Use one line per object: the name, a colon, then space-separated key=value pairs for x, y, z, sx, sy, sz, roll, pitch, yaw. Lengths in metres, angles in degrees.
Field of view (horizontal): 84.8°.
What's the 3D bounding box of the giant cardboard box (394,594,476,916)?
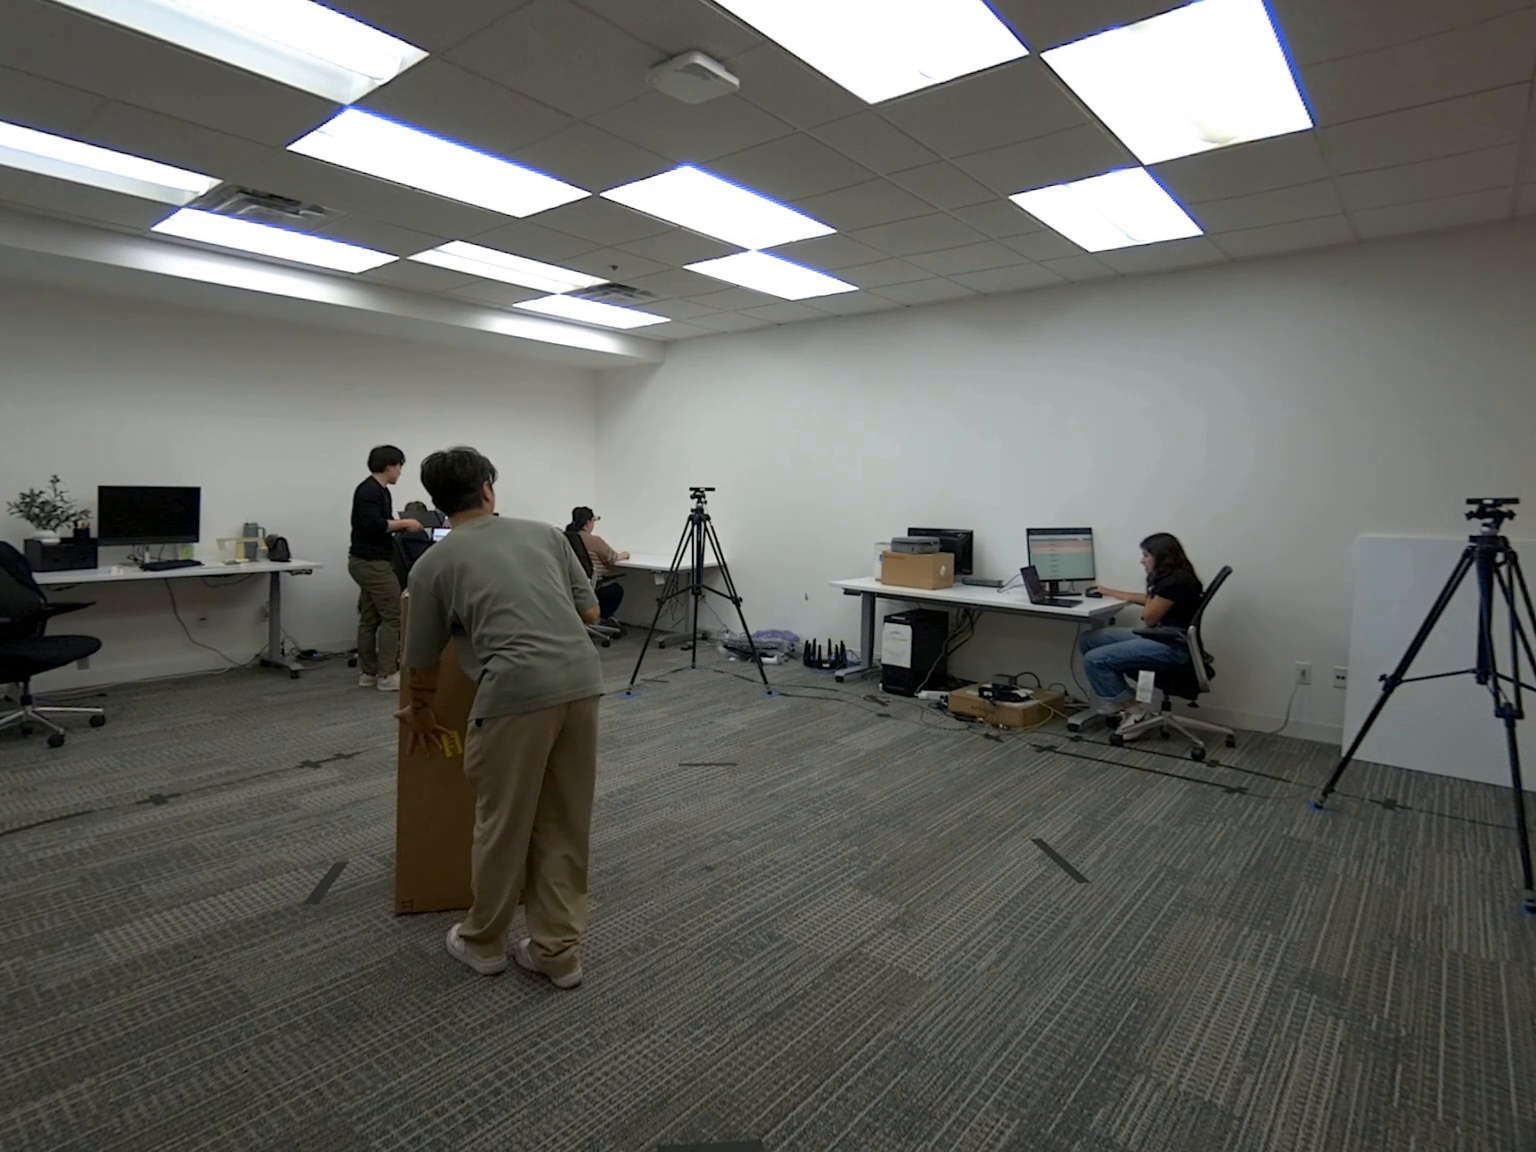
giant cardboard box: x=-1.078 y=0.553 z=3.027 sx=0.419 sy=1.024 sz=0.589 roll=1 pitch=3 yaw=-17
